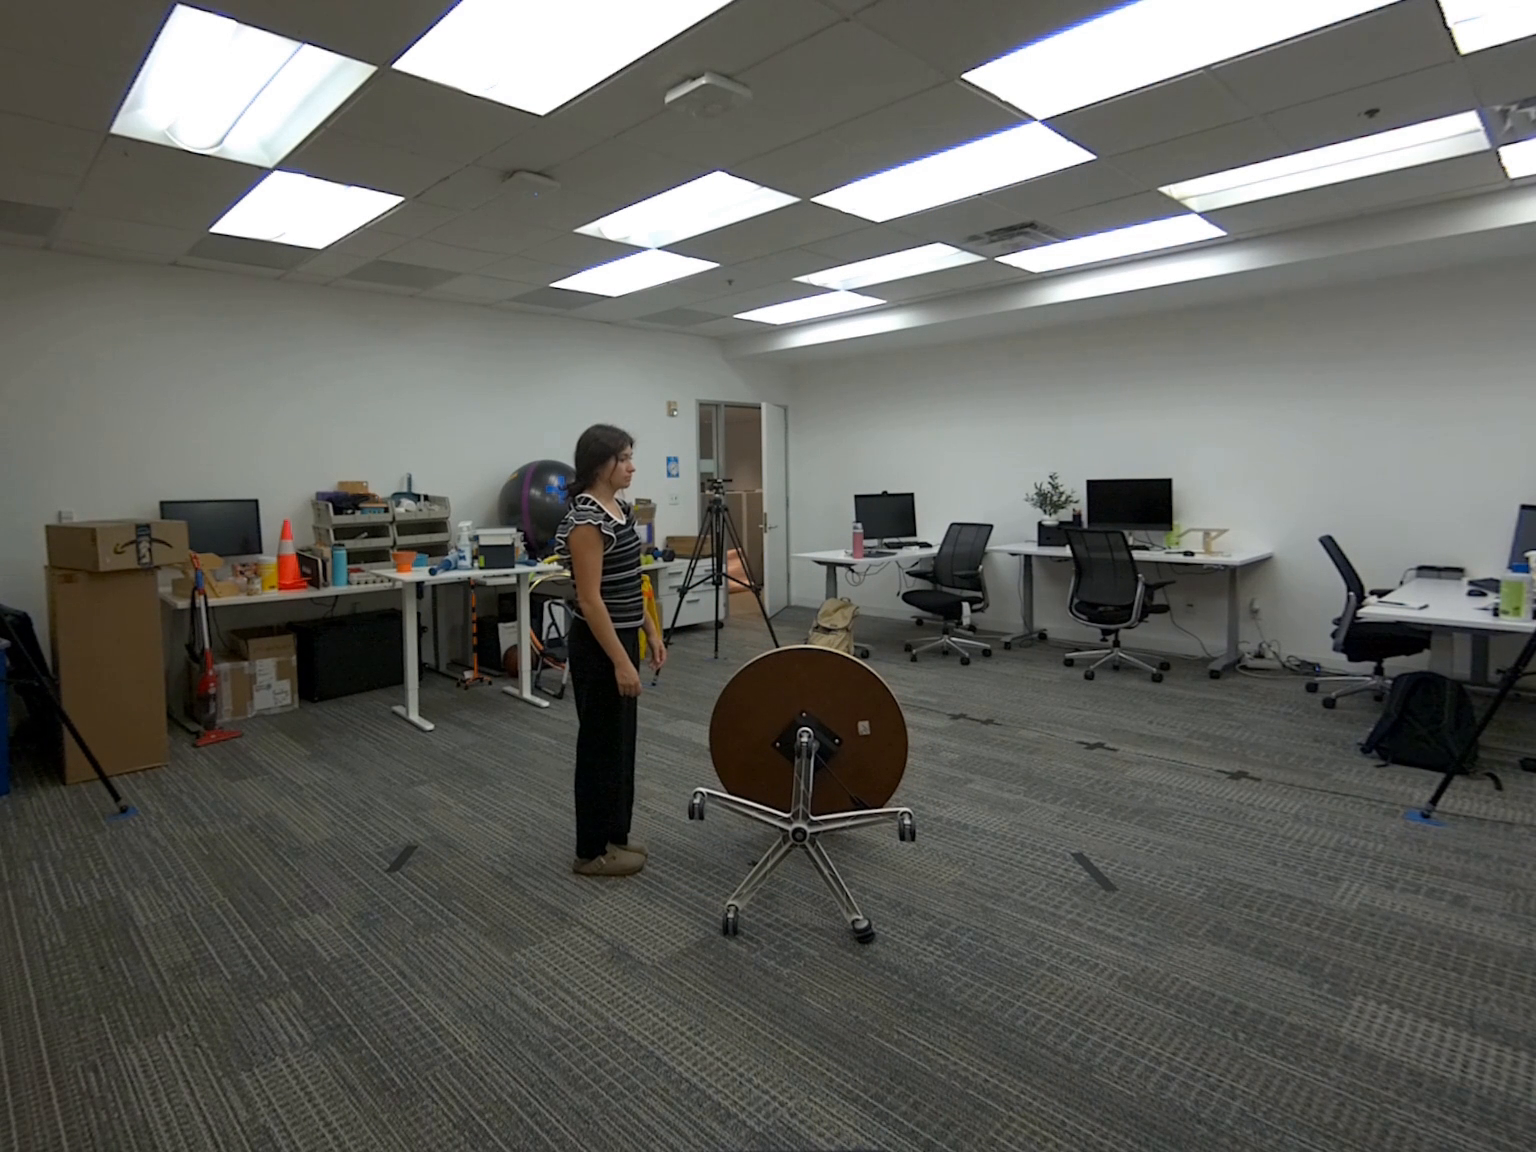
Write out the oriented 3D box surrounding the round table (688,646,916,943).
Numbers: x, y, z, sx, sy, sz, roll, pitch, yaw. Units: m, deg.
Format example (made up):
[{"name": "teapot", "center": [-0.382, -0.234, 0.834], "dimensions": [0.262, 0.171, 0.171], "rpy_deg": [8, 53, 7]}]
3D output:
[{"name": "round table", "center": [0.128, 0.734, 2.916], "dimensions": [0.769, 0.756, 0.797], "rpy_deg": [0, 11, 6]}]
